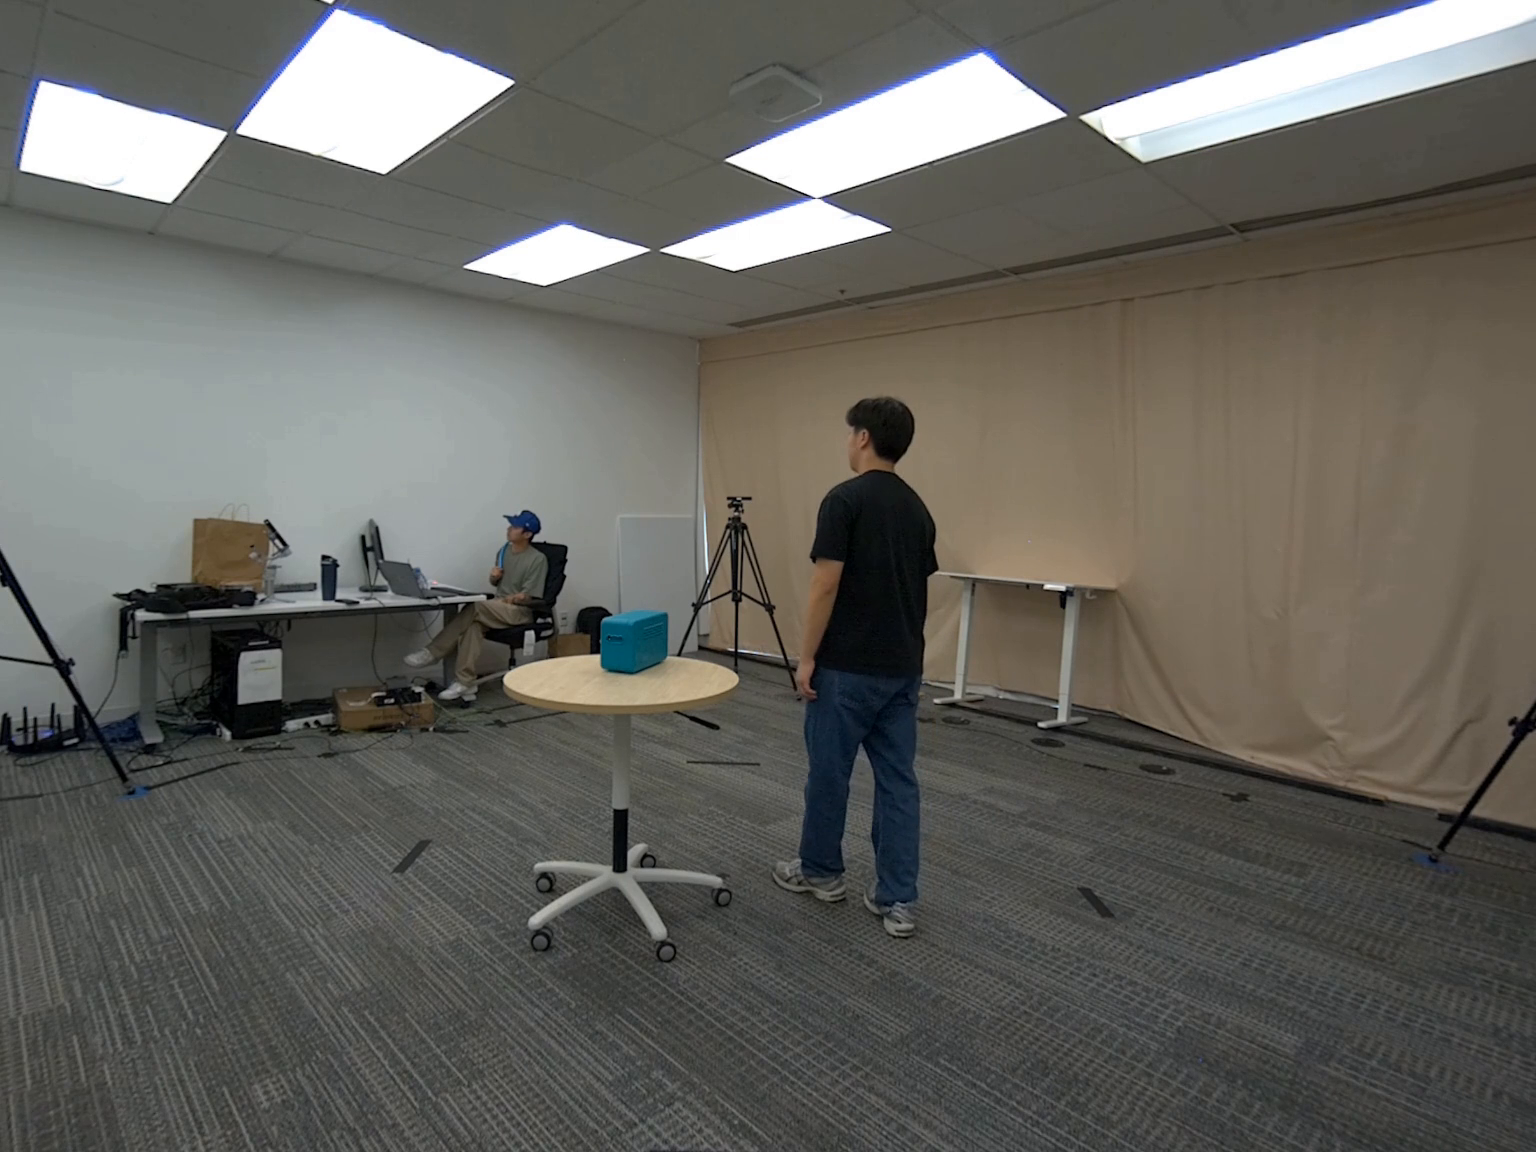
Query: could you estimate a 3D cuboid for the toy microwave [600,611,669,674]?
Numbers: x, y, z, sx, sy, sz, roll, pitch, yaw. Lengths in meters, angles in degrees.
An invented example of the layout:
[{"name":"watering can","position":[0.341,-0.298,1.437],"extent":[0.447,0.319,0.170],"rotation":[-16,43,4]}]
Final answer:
[{"name":"toy microwave","position":[-0.469,0.223,2.944],"extent":[0.155,0.183,0.282],"rotation":[2,5,19]}]
